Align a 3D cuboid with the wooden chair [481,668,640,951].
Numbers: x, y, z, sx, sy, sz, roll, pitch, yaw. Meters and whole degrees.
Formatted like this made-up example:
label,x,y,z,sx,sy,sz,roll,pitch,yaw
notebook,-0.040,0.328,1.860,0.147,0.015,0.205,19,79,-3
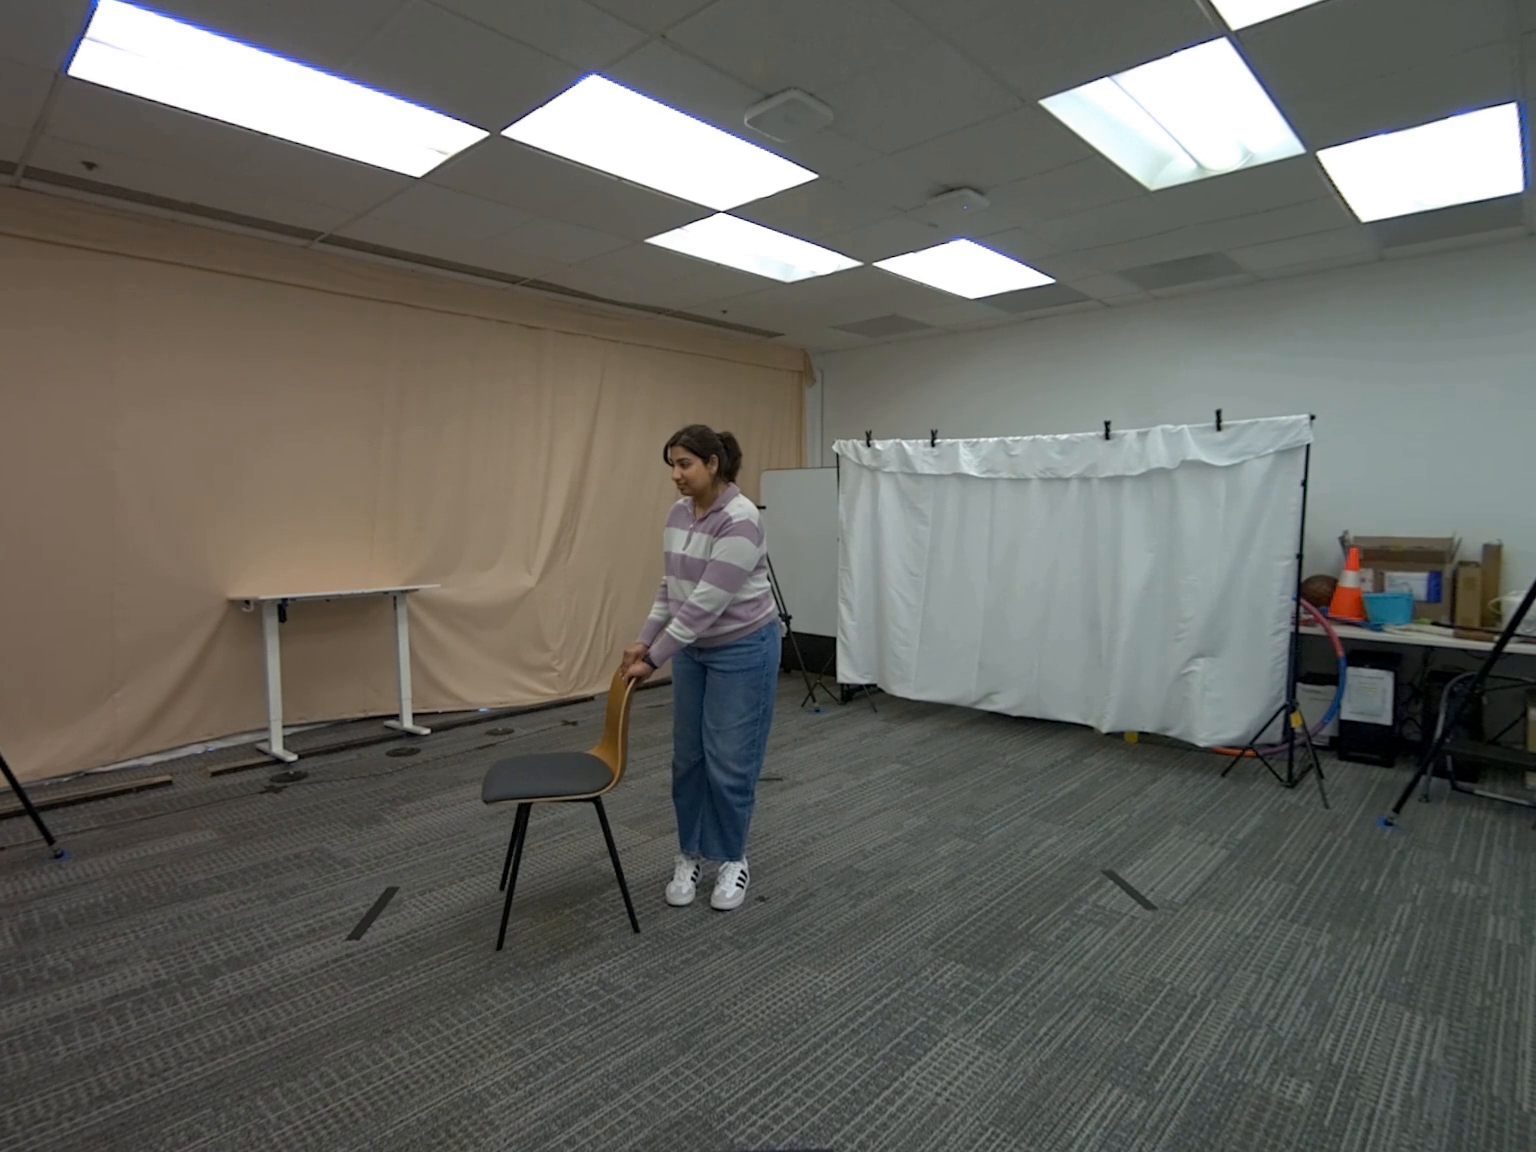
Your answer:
label,x,y,z,sx,sy,sz,roll,pitch,yaw
wooden chair,-0.709,0.727,2.874,0.515,0.876,0.486,3,2,-15
